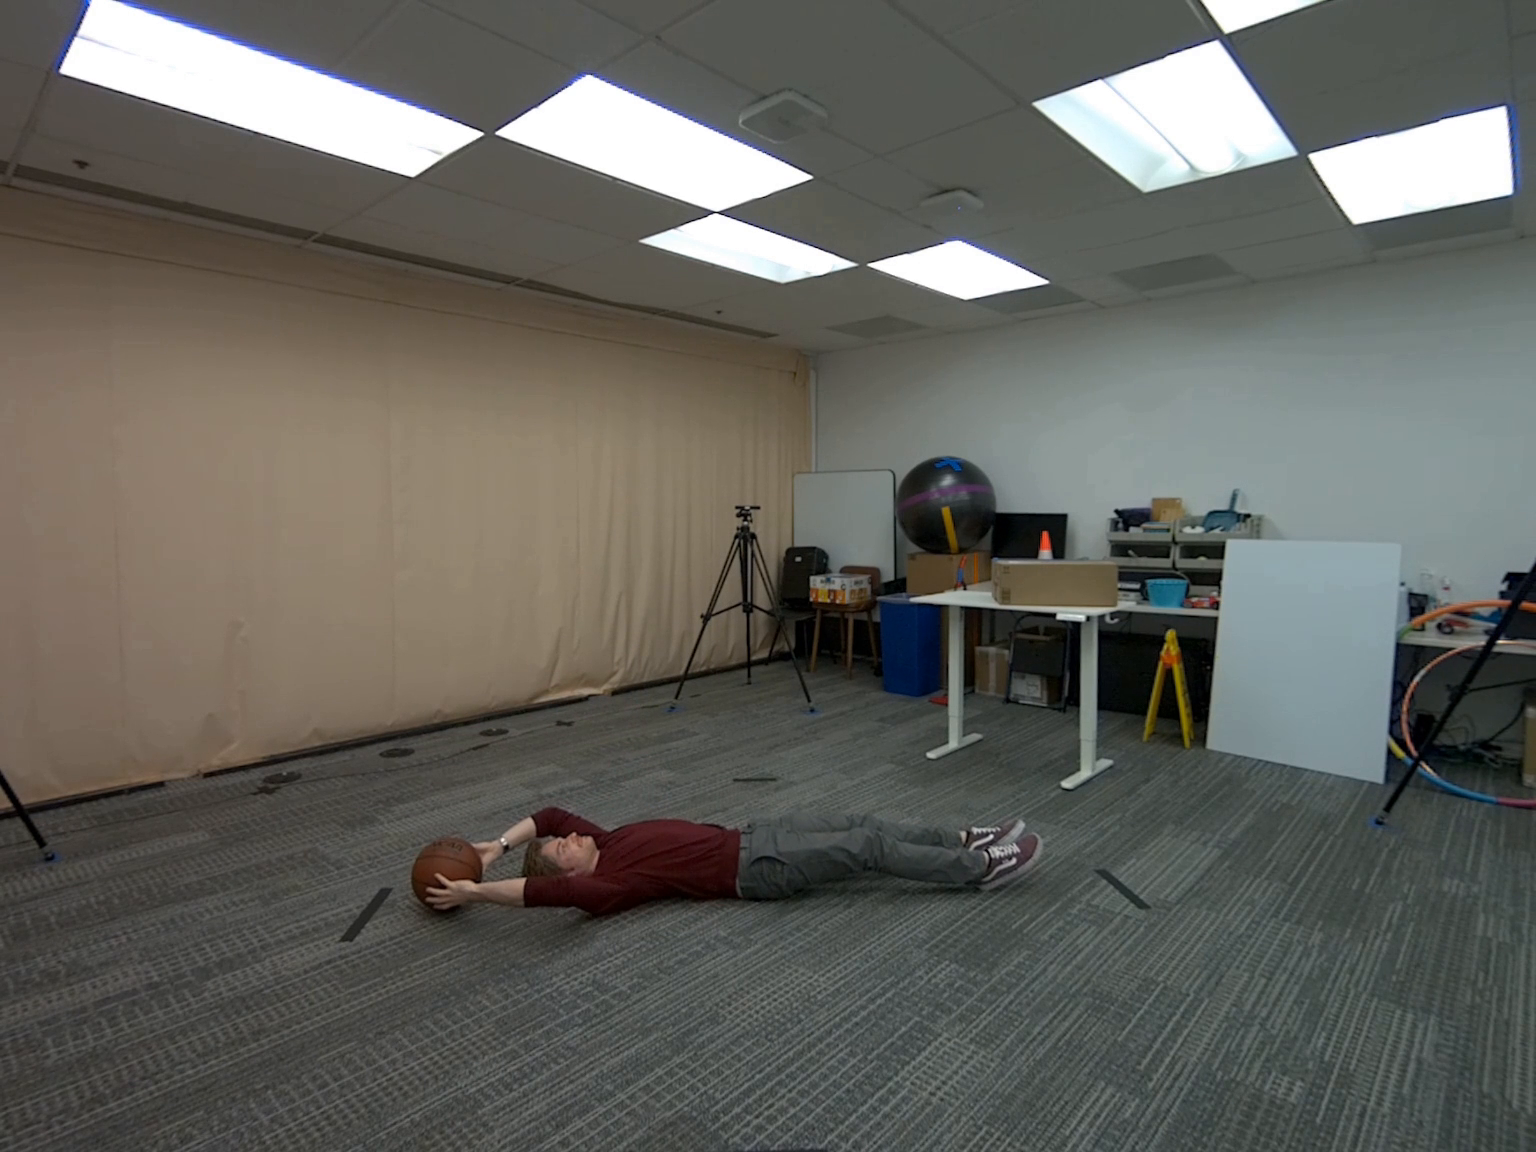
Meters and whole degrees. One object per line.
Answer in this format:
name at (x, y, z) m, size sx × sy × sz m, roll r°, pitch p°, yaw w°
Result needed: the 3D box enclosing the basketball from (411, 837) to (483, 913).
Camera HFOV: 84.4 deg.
basketball at (-1.129, 1.041, 2.928) m, size 0.236 × 0.235 × 0.237 m, roll 0°, pitch 4°, yaw -2°
